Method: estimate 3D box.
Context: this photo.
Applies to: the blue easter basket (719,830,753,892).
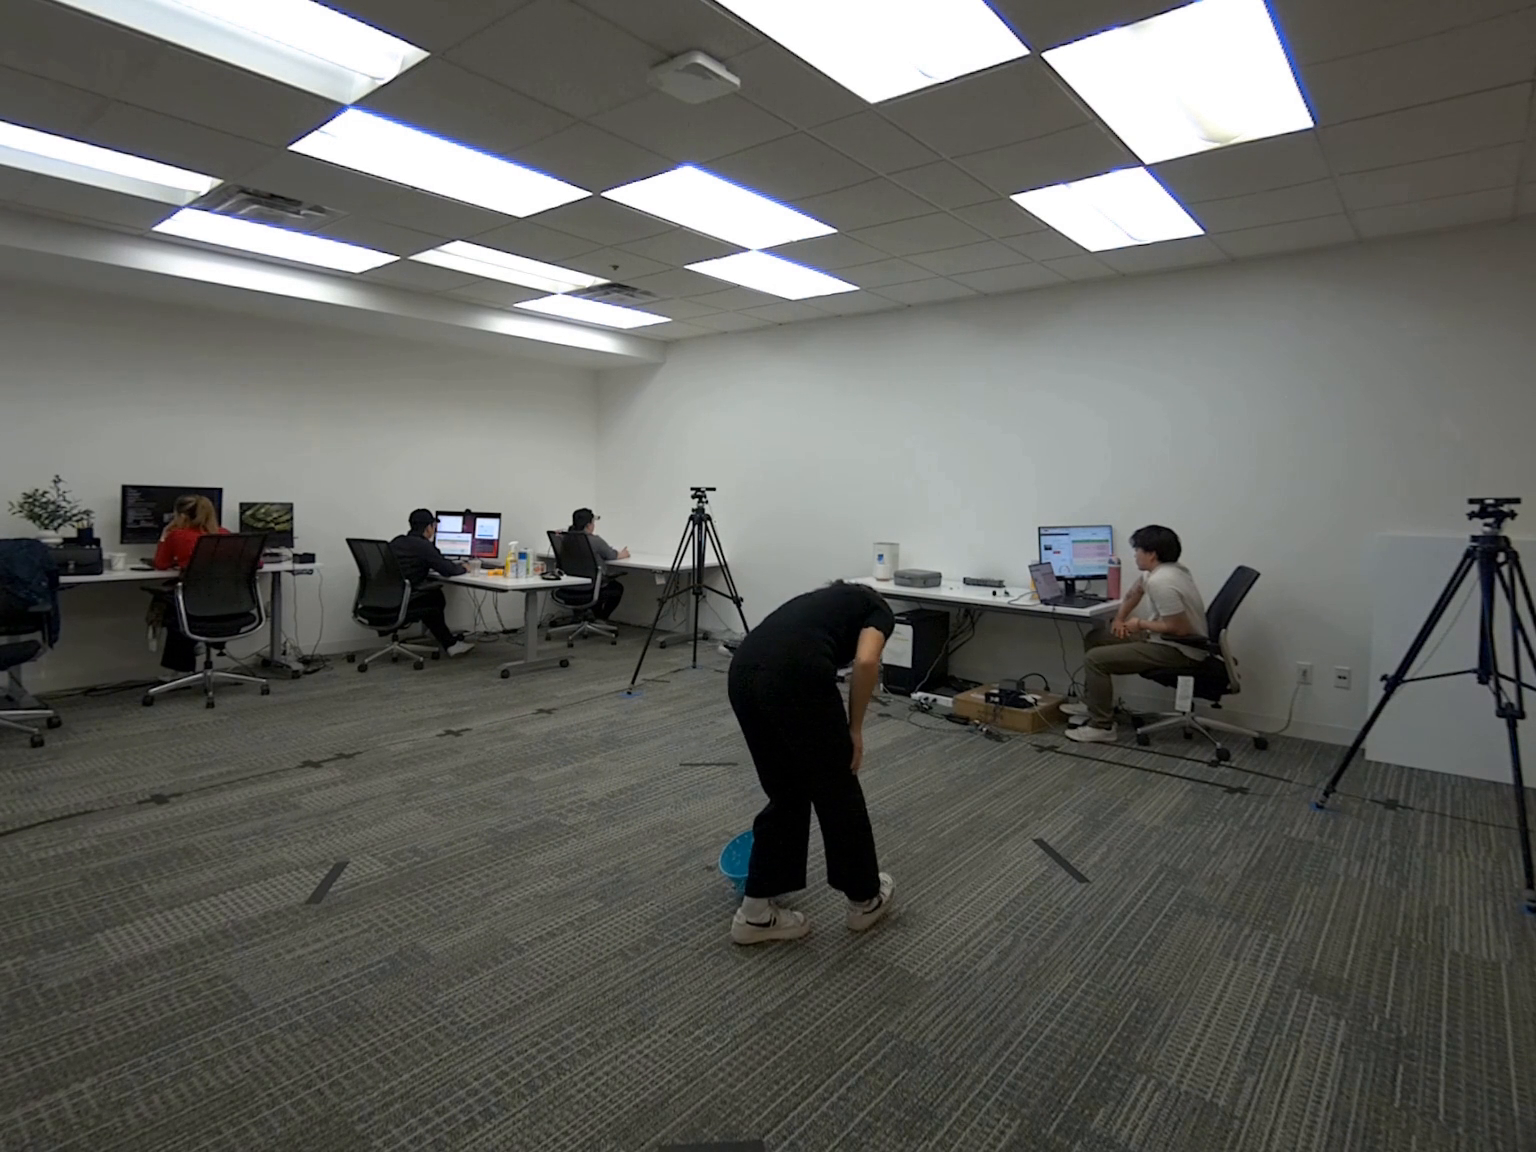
[{"bbox_3d":[-0.041,0.986,2.864,0.244,0.152,0.248,-22,18,5],"label":"blue easter basket"}]
